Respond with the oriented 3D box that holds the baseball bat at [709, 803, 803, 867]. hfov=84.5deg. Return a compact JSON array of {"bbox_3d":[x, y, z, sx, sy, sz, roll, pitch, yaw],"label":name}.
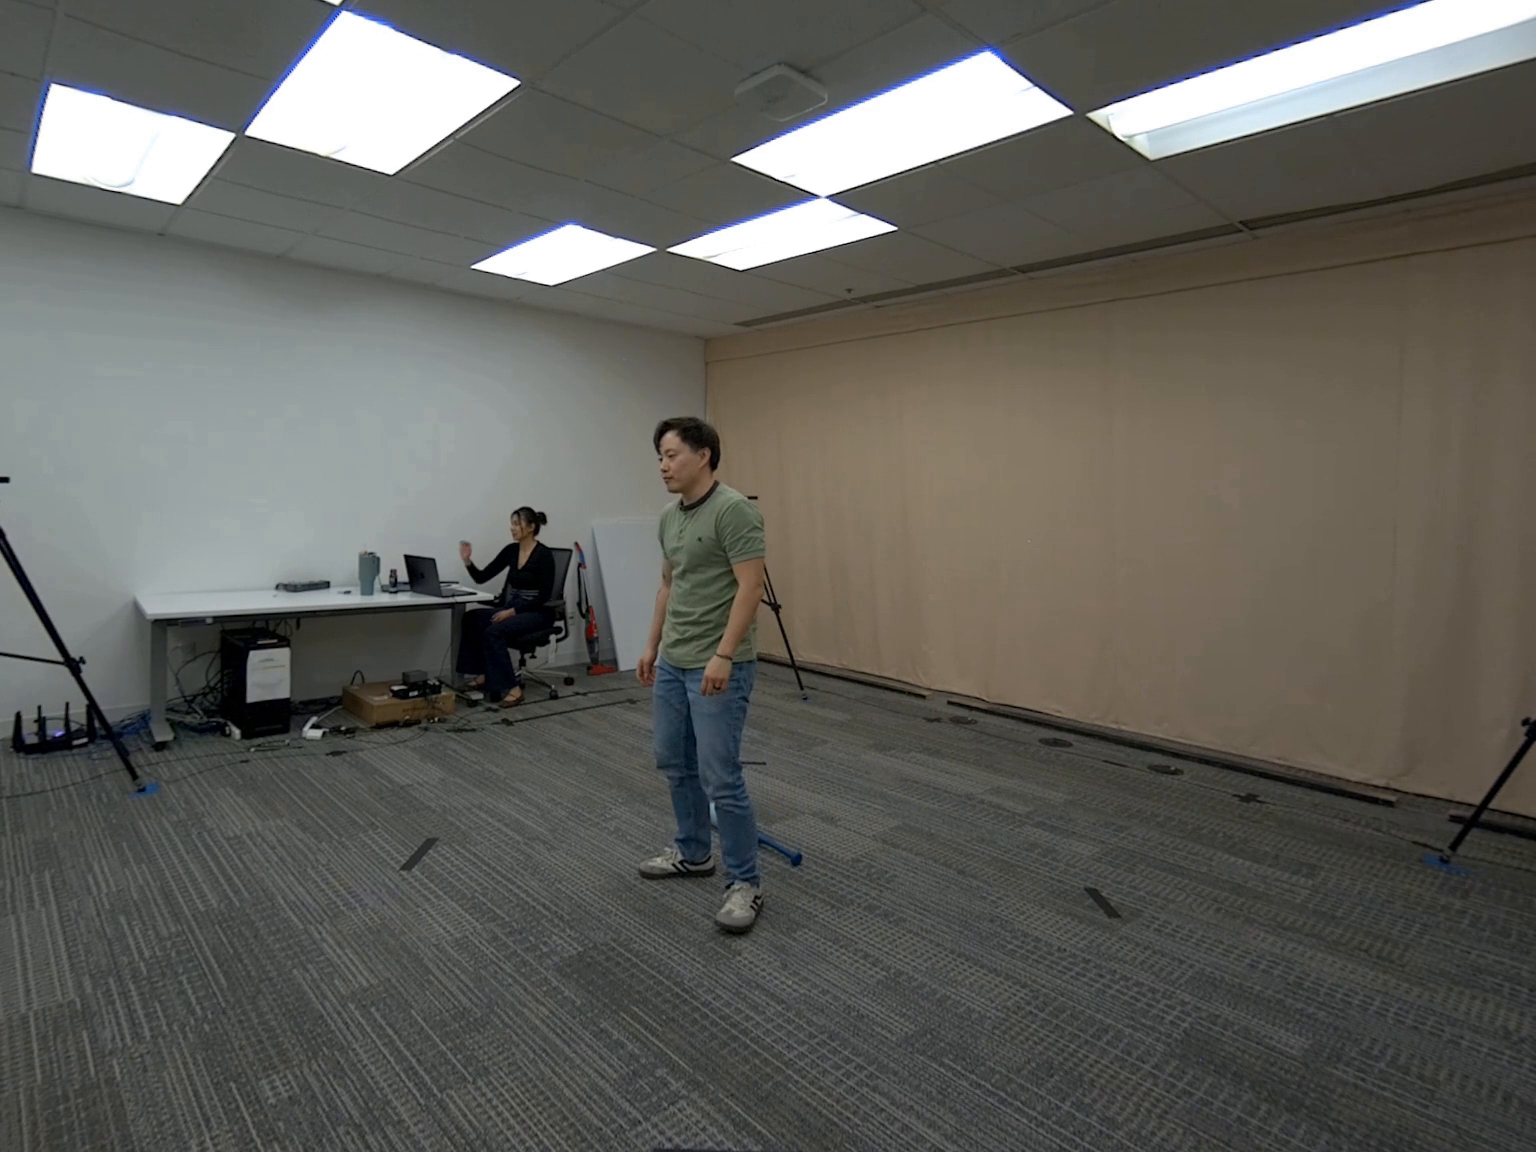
[{"bbox_3d":[-0.073,1.044,3.396,0.087,0.088,0.558,-2,9,-41],"label":"baseball bat"}]
